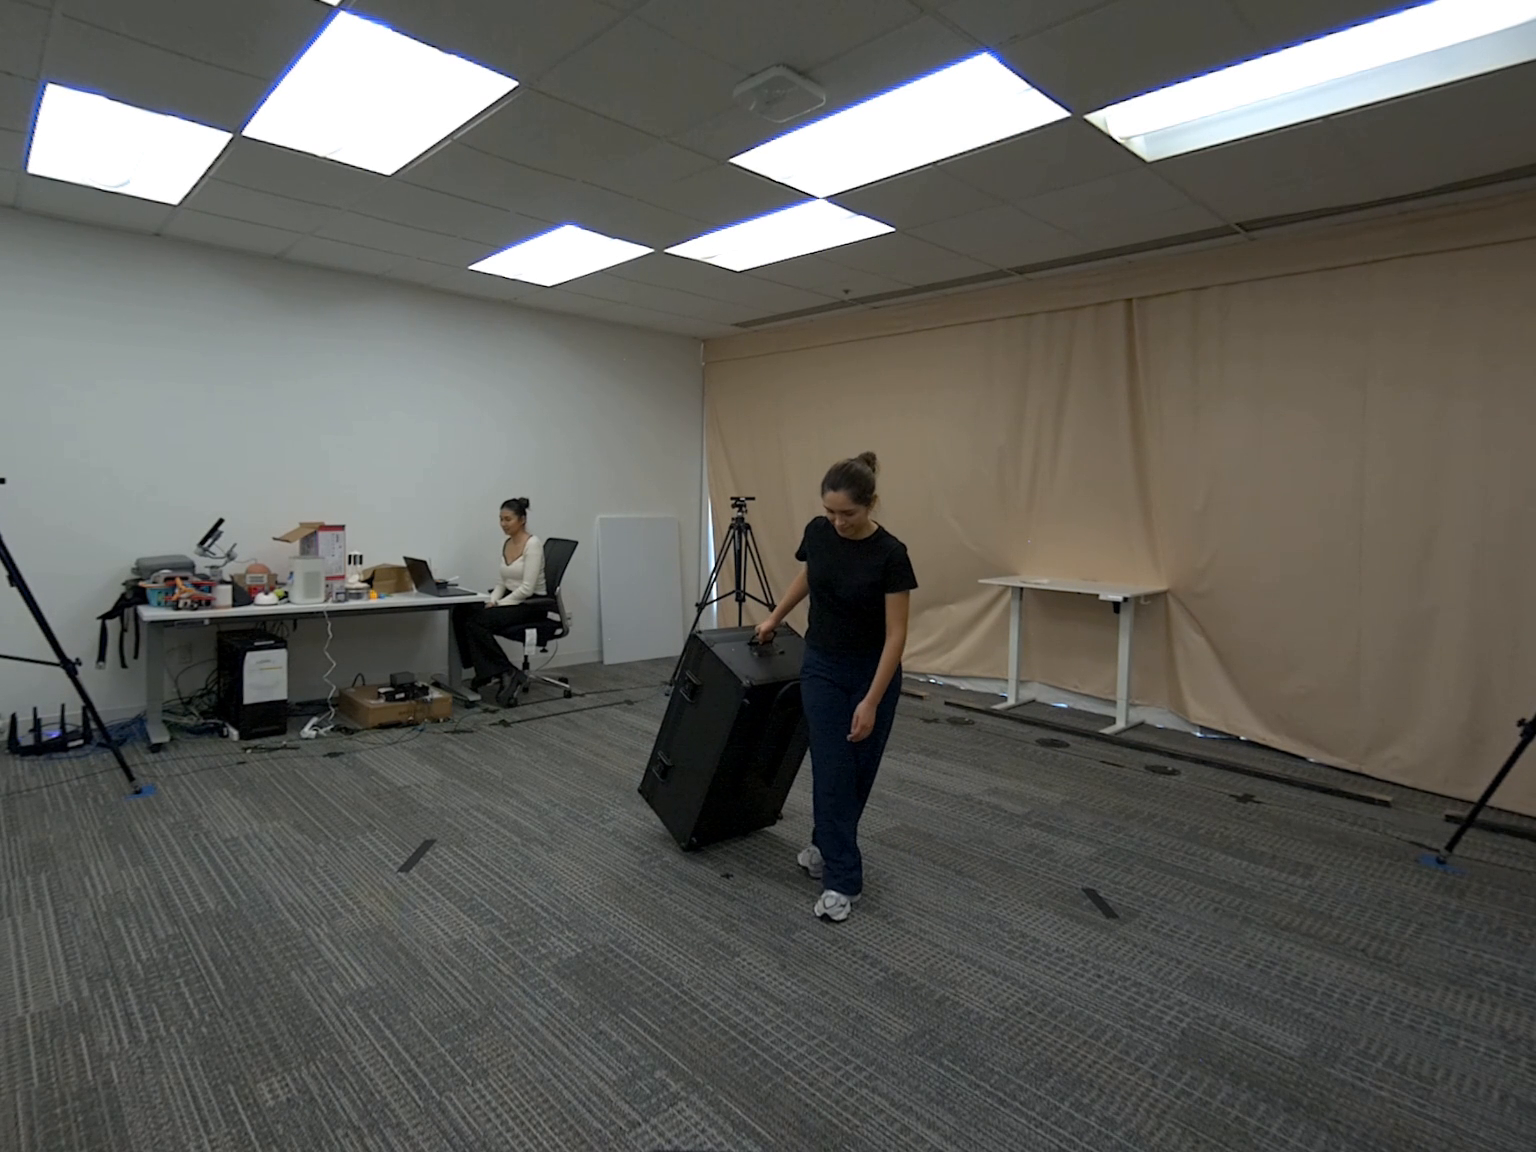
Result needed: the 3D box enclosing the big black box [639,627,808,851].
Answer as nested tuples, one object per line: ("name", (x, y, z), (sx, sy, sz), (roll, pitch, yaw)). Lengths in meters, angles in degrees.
("big black box", (-0.133, 0.658, 3.329), (0.509, 0.854, 0.409), (-1, 31, -42))
